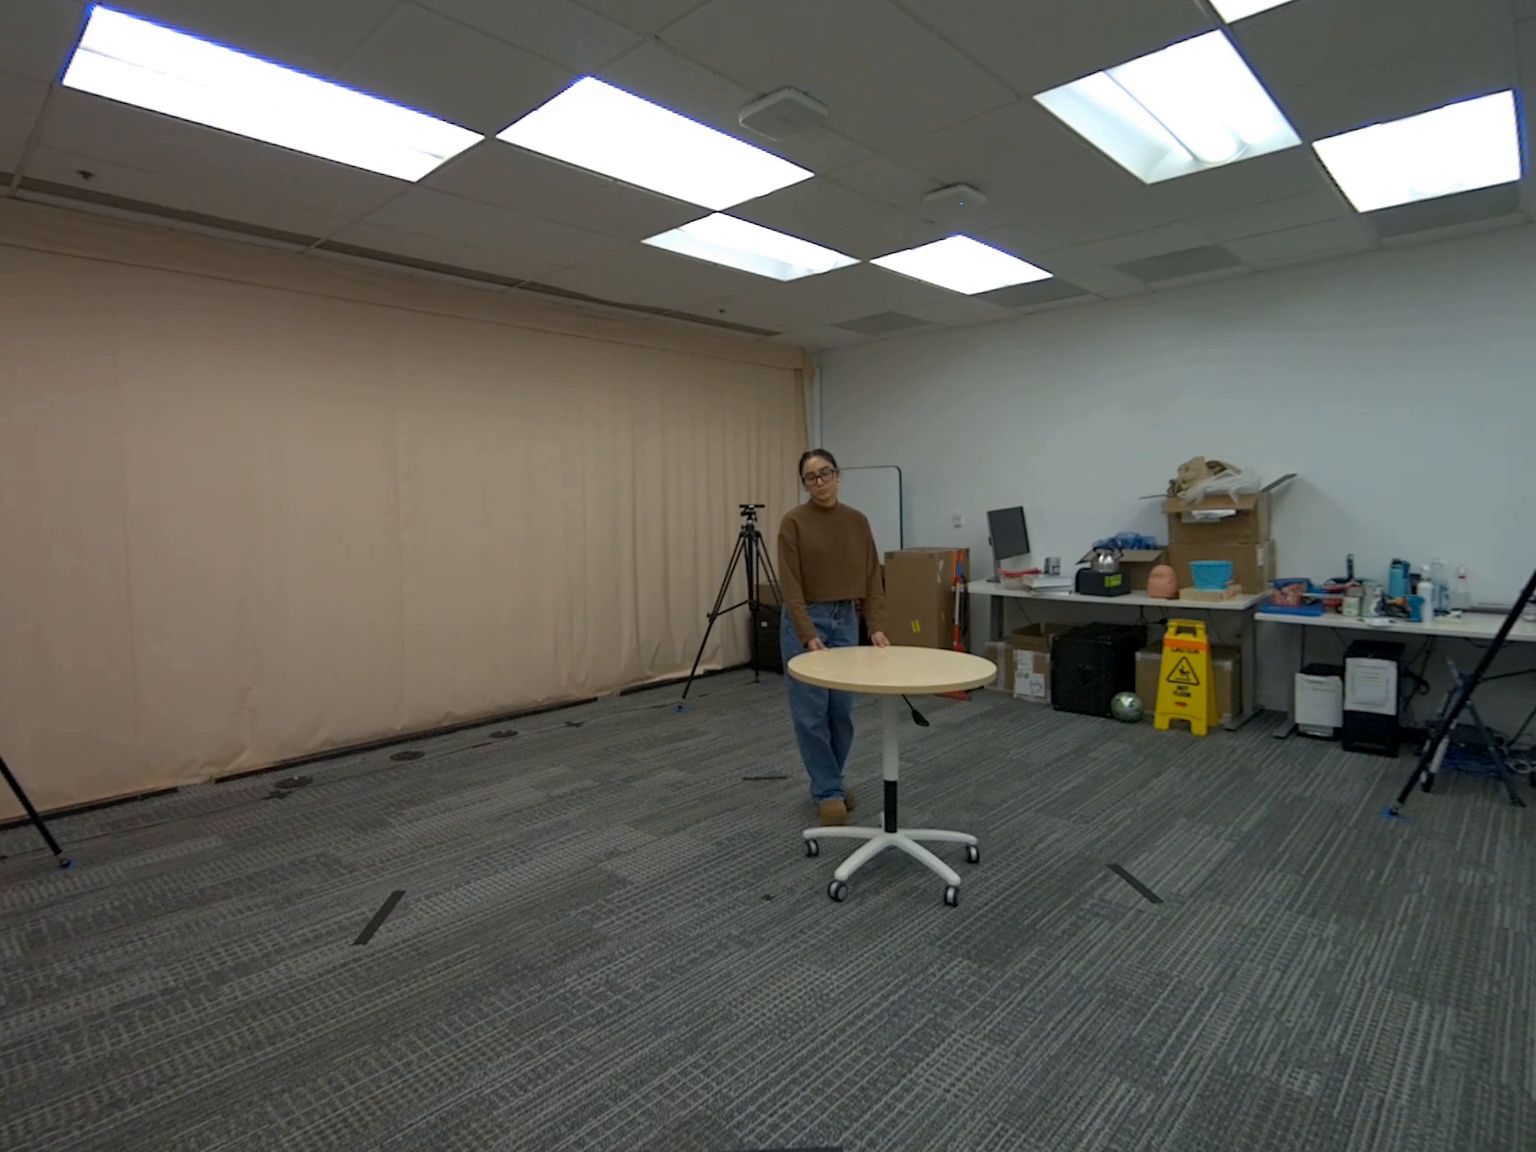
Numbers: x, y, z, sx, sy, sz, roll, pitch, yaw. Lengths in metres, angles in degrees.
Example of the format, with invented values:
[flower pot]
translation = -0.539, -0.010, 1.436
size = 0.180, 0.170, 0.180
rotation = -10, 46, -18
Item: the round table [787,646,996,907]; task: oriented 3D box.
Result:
[round table]
translation = 0.461, 0.724, 3.193
size = 0.763, 0.792, 0.767
rotation = -1, 4, -2
